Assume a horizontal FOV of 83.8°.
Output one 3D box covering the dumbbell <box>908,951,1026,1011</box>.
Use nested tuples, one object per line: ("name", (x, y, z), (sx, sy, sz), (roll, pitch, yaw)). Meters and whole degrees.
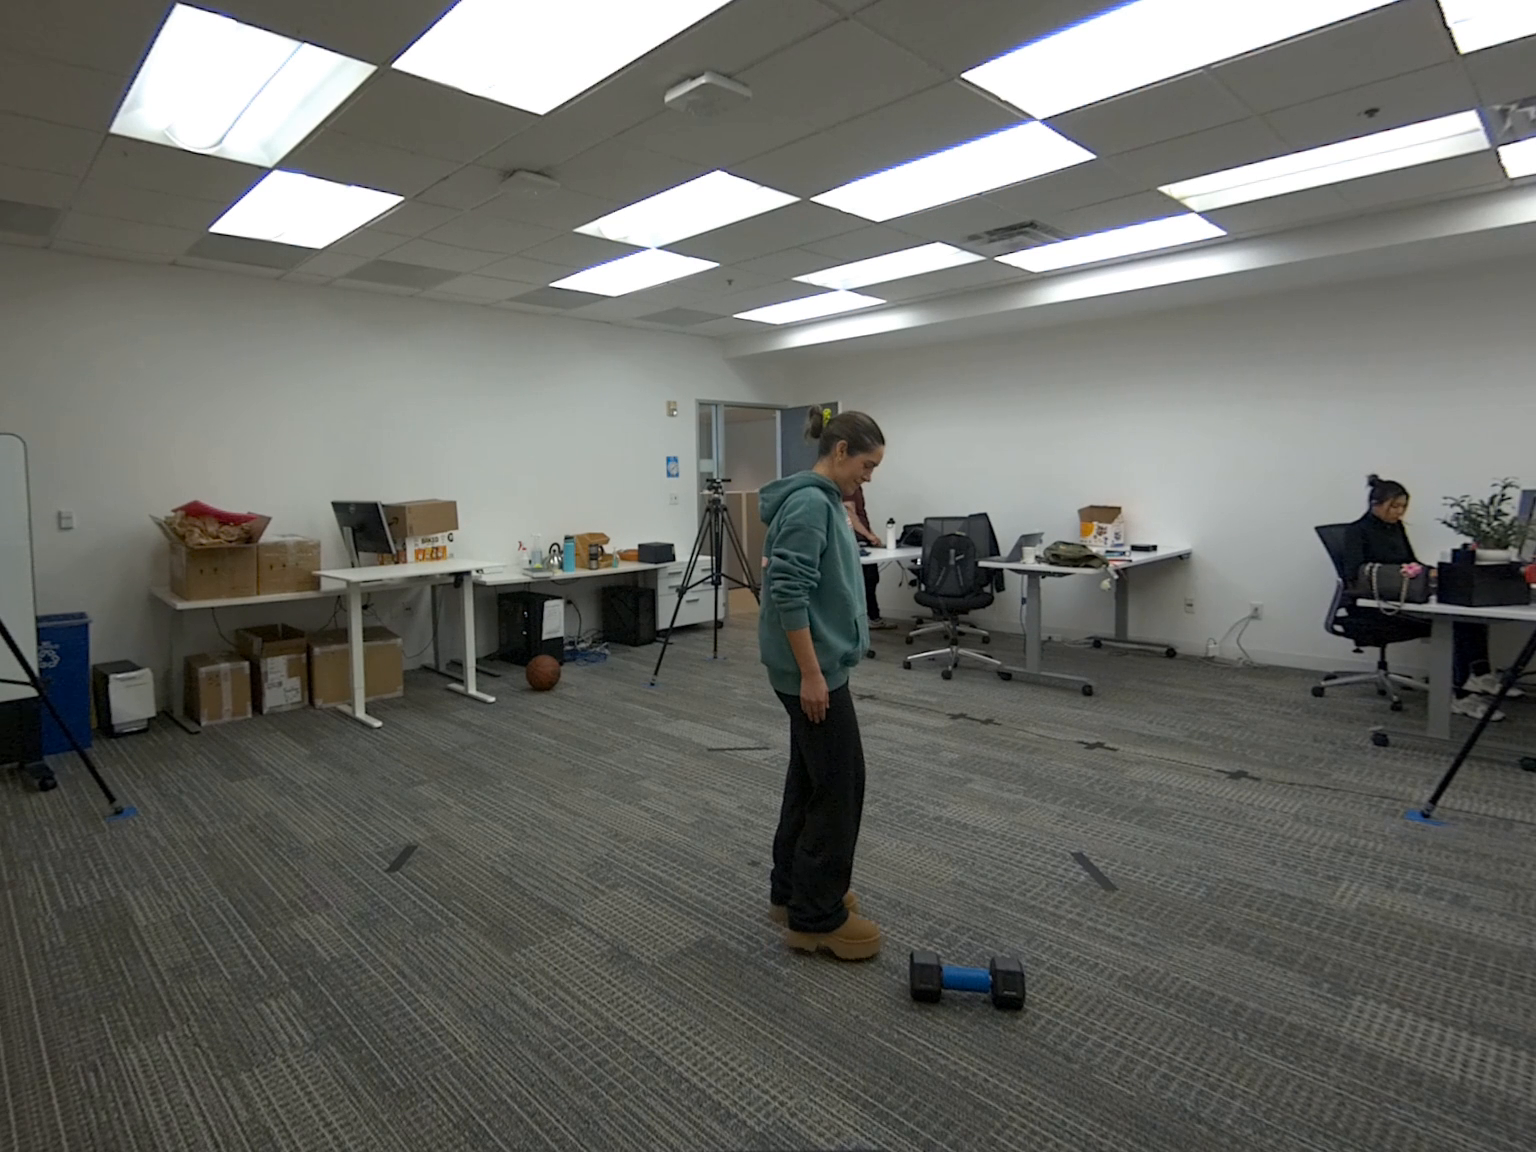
("dumbbell", (0.535, 1.077, 2.273), (0.296, 0.120, 0.110), (0, 33, 10))
